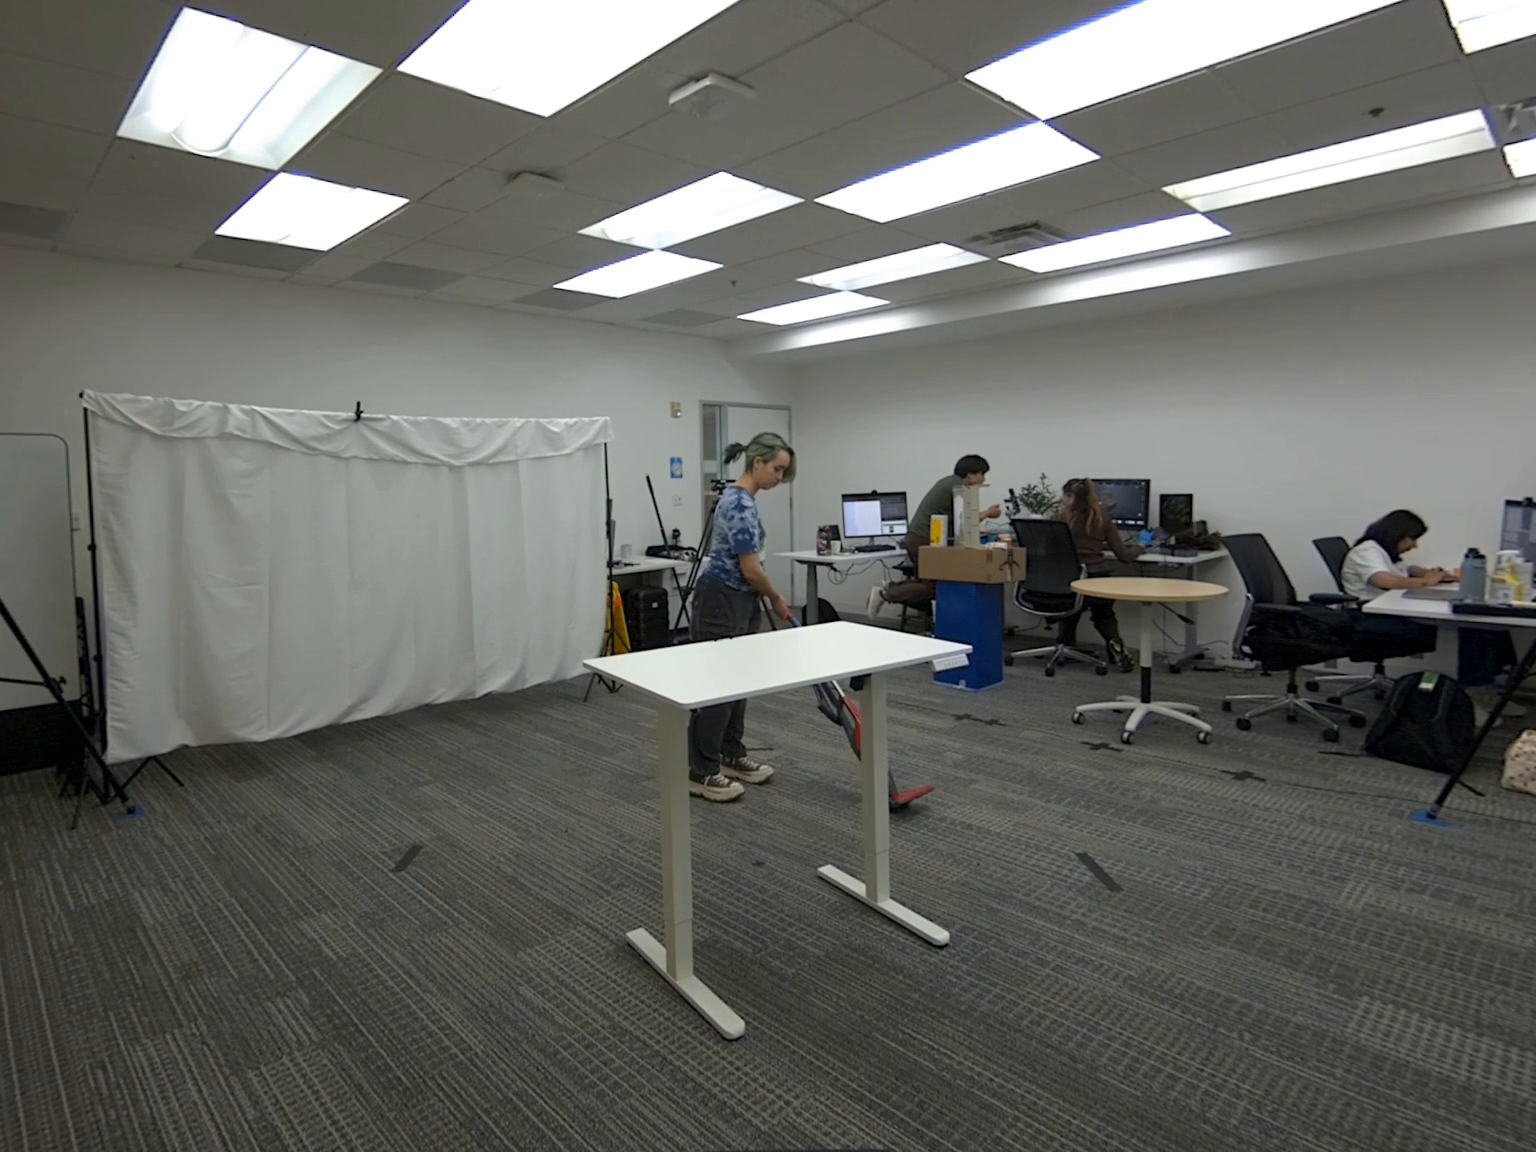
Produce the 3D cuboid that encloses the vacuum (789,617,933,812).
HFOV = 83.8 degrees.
[{"bbox_3d":[0.322,0.569,3.828,0.245,1.084,0.143,1,-45,-47],"label":"vacuum"}]
